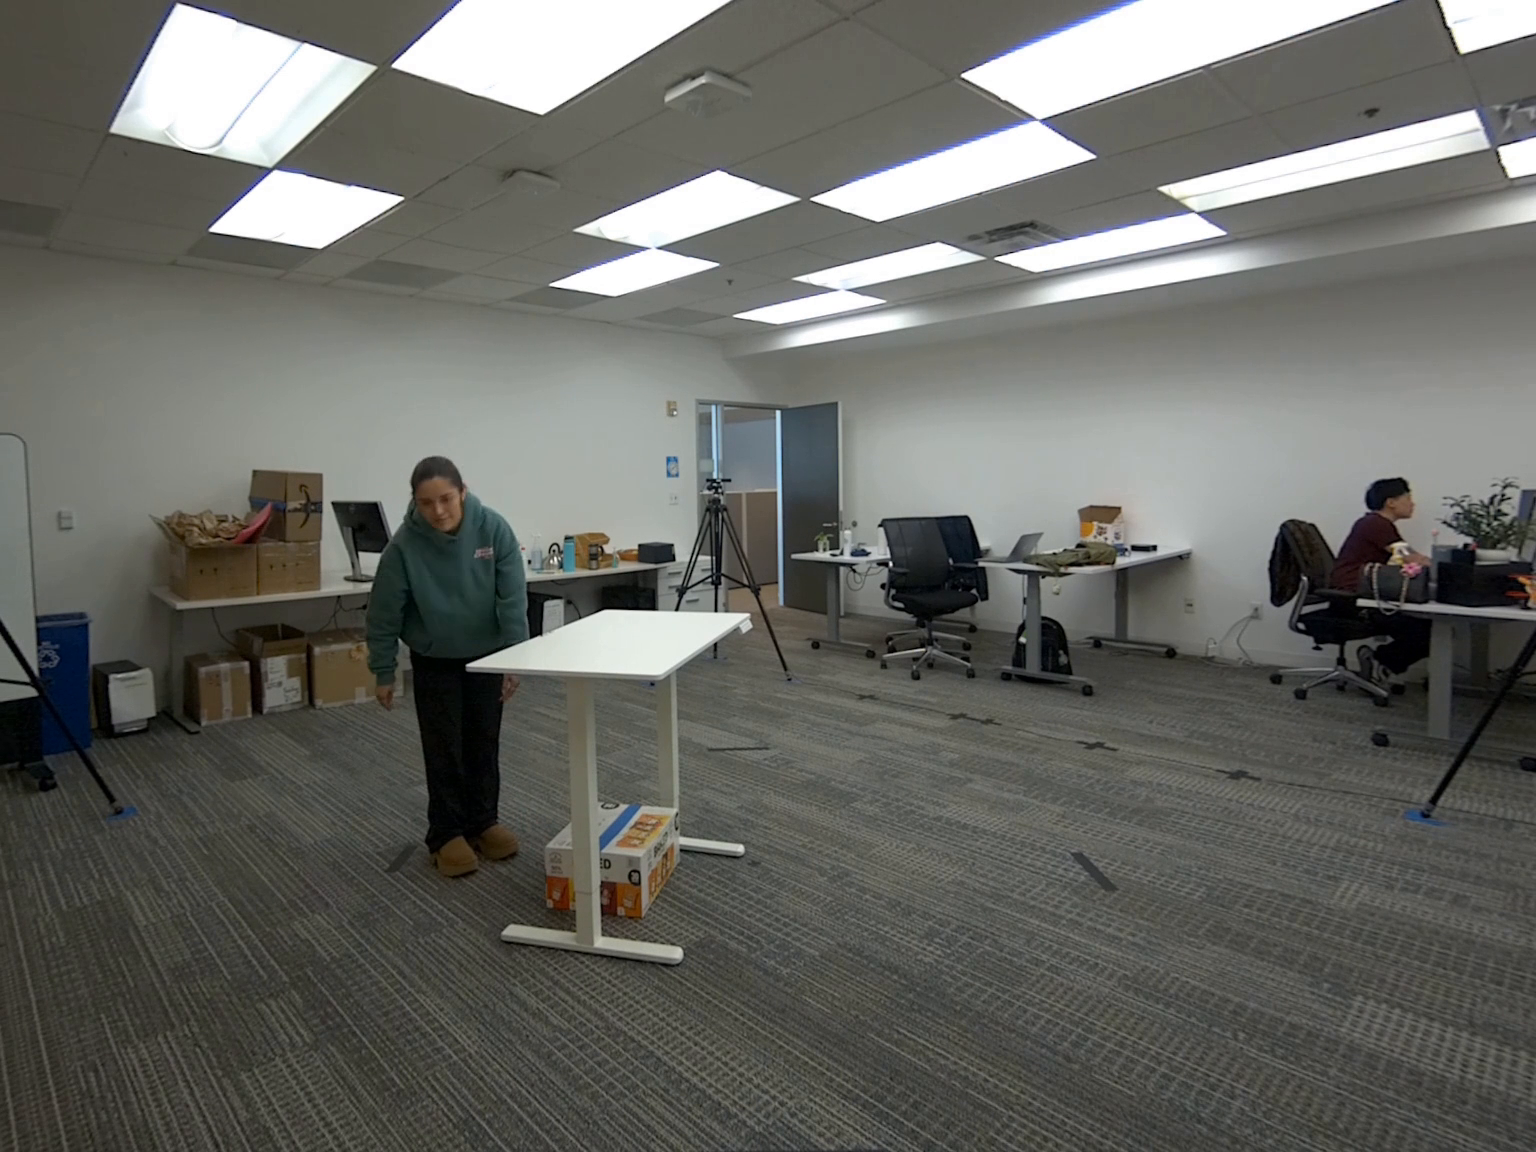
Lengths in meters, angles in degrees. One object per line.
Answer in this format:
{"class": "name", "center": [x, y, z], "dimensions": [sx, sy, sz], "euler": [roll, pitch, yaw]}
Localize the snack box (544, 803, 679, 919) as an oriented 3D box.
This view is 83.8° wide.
{"class": "snack box", "center": [-0.526, 0.969, 2.954], "dimensions": [0.345, 0.205, 0.402], "euler": [0, 6, 12]}
